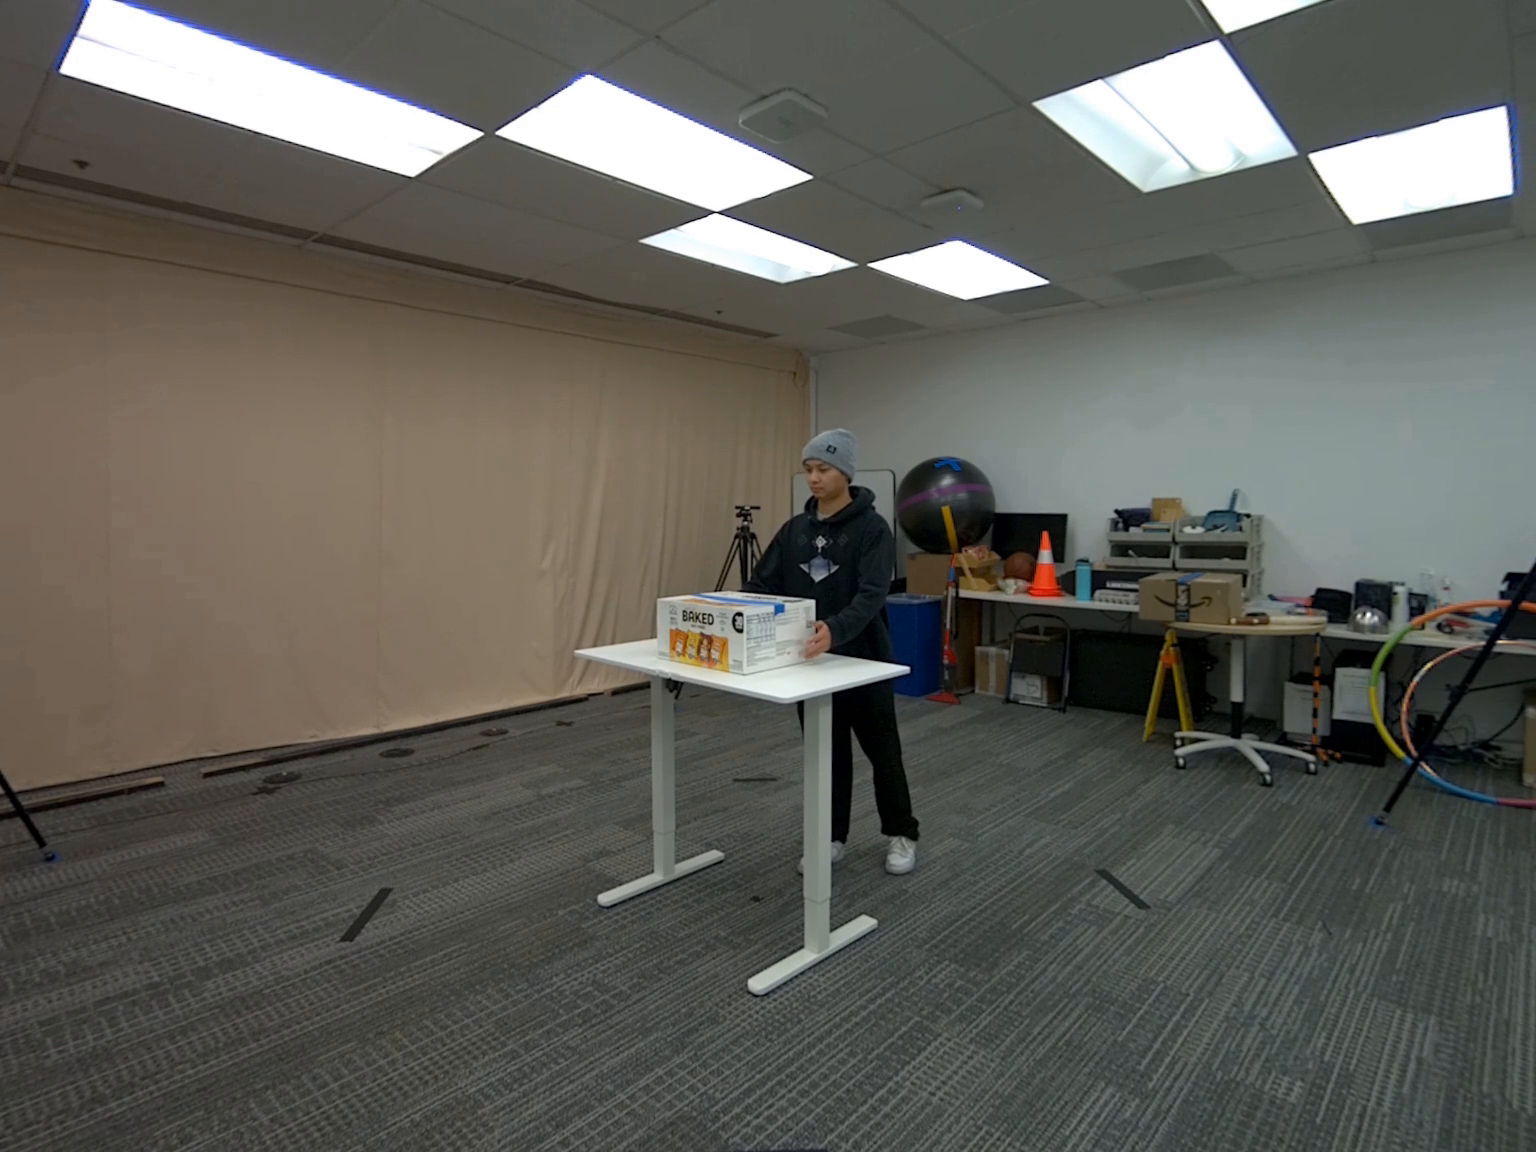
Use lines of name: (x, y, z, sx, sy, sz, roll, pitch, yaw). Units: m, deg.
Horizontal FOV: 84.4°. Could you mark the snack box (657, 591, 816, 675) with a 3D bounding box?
snack box: (-0.107, 0.178, 2.793, 0.419, 0.205, 0.330, 4, 7, 43)
